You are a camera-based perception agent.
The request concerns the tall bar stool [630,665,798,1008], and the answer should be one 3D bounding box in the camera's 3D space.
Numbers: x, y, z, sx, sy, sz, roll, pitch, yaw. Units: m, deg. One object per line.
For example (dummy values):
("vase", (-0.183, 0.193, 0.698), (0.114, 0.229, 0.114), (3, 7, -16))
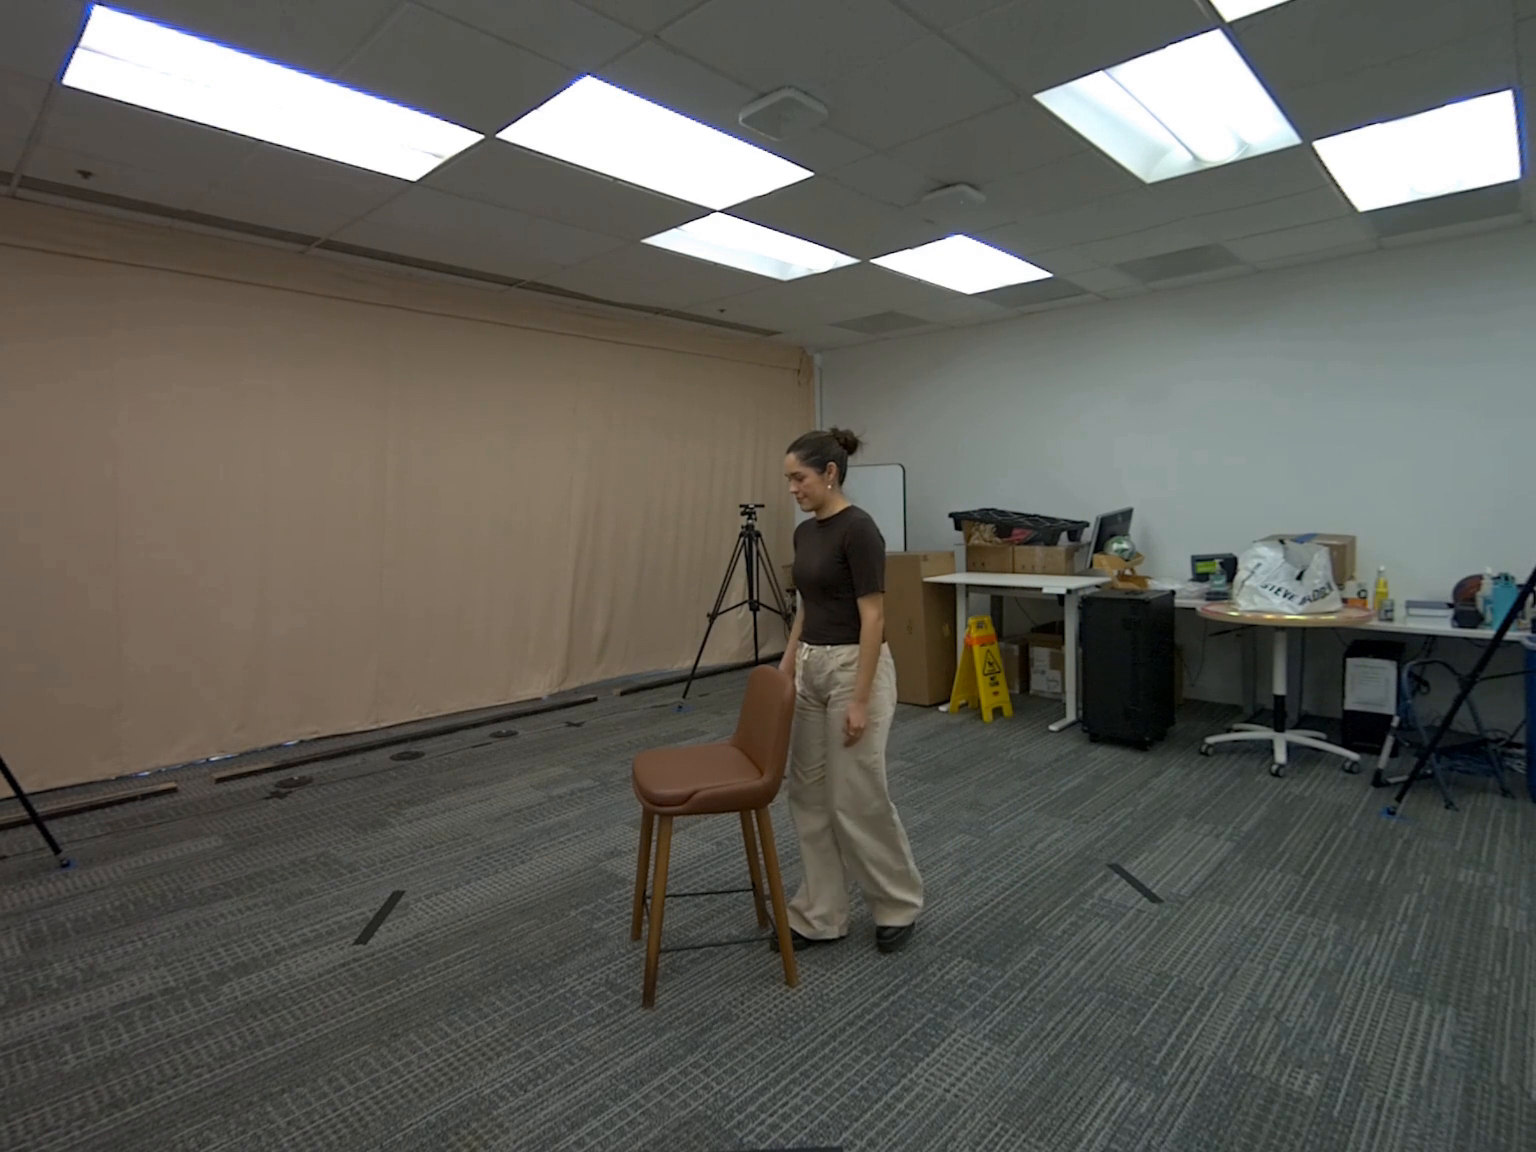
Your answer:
("tall bar stool", (-0.175, 0.747, 2.551), (0.461, 0.888, 0.464), (0, 3, -13))
